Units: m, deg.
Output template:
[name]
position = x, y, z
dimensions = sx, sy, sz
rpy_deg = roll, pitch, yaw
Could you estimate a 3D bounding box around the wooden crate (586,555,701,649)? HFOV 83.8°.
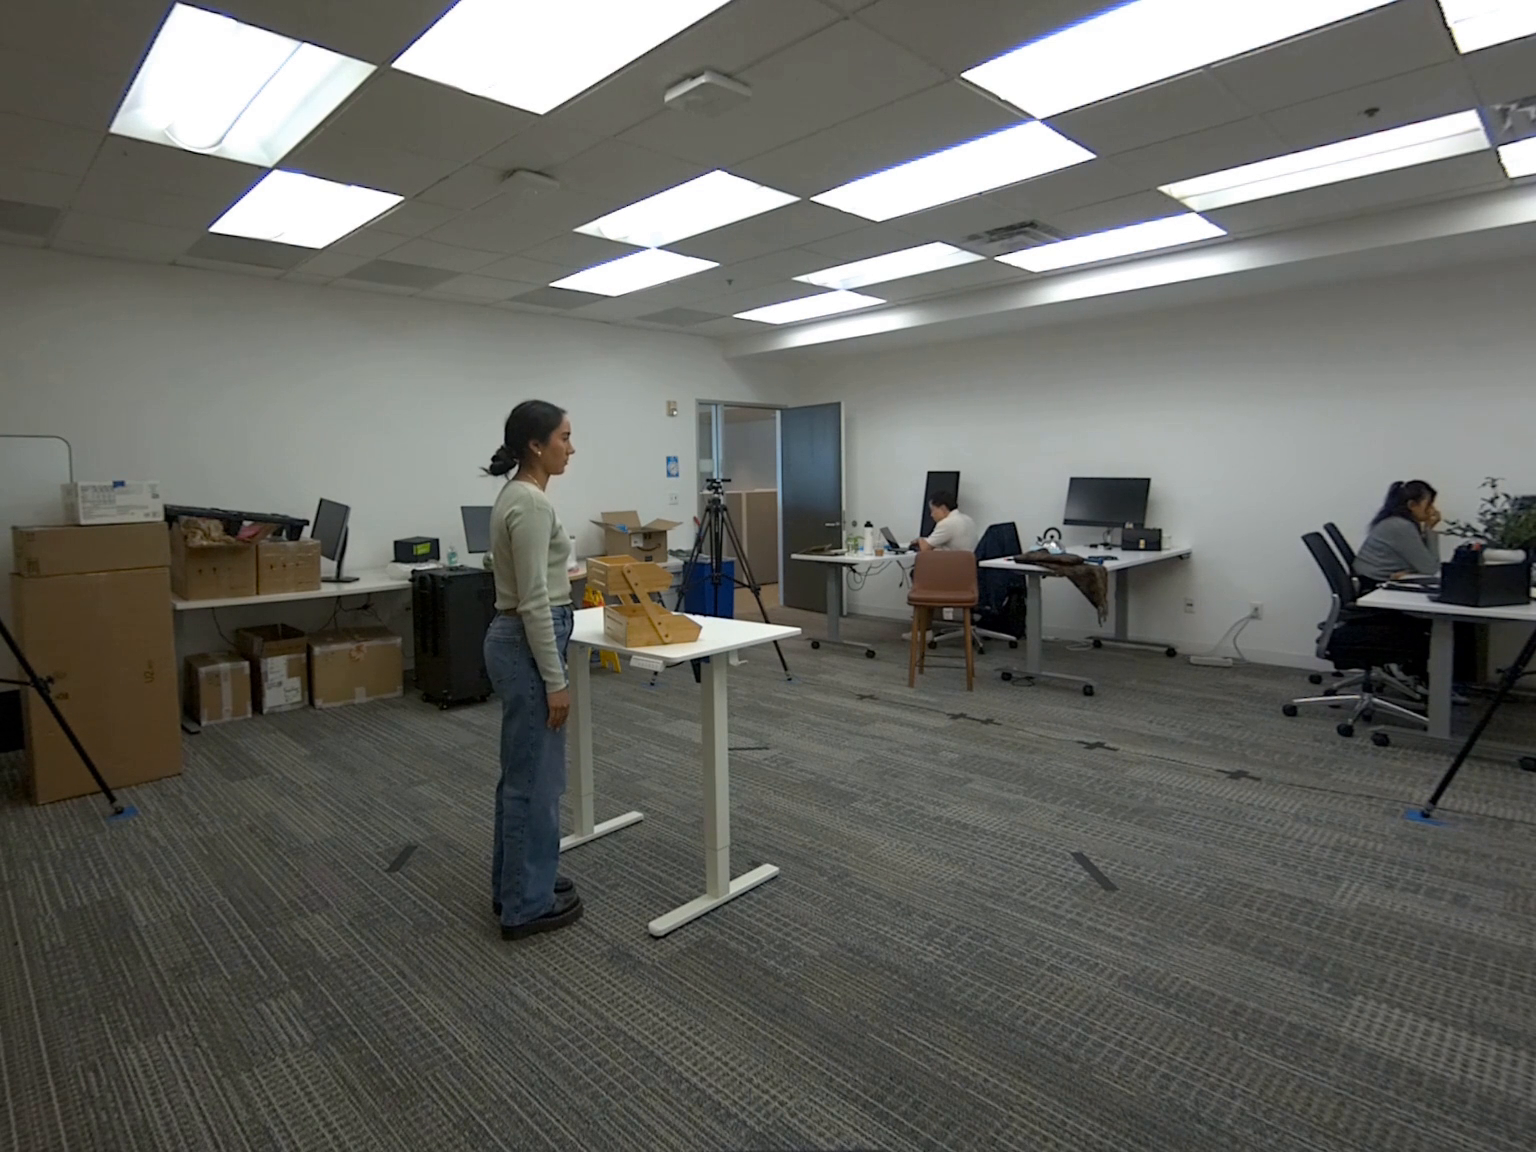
[wooden crate]
position = -0.406, 0.070, 2.790
dimensions = 0.296, 0.272, 0.332
rpy_deg = -4, 5, -23
